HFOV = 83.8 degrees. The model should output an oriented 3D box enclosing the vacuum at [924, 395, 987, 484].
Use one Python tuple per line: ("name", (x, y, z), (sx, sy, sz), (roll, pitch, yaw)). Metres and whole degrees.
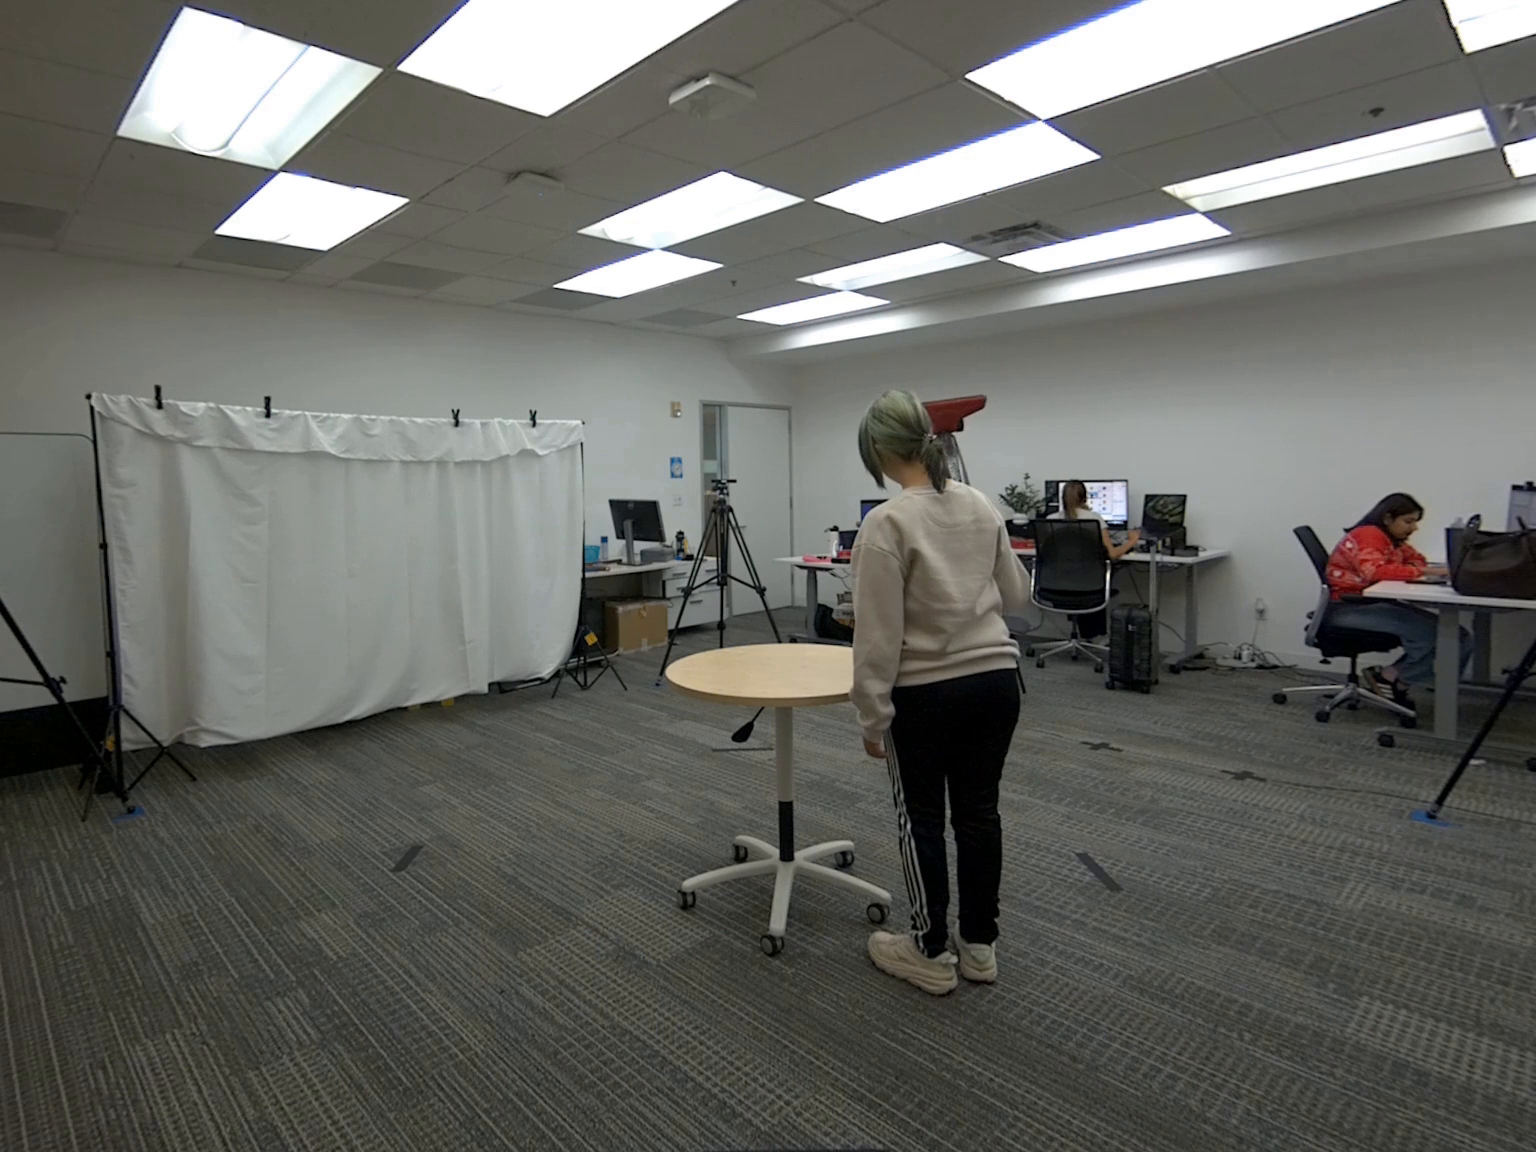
("vacuum", (0.637, -0.009, 2.676), (0.252, 1.056, 0.143), (-7, -6, -1))
